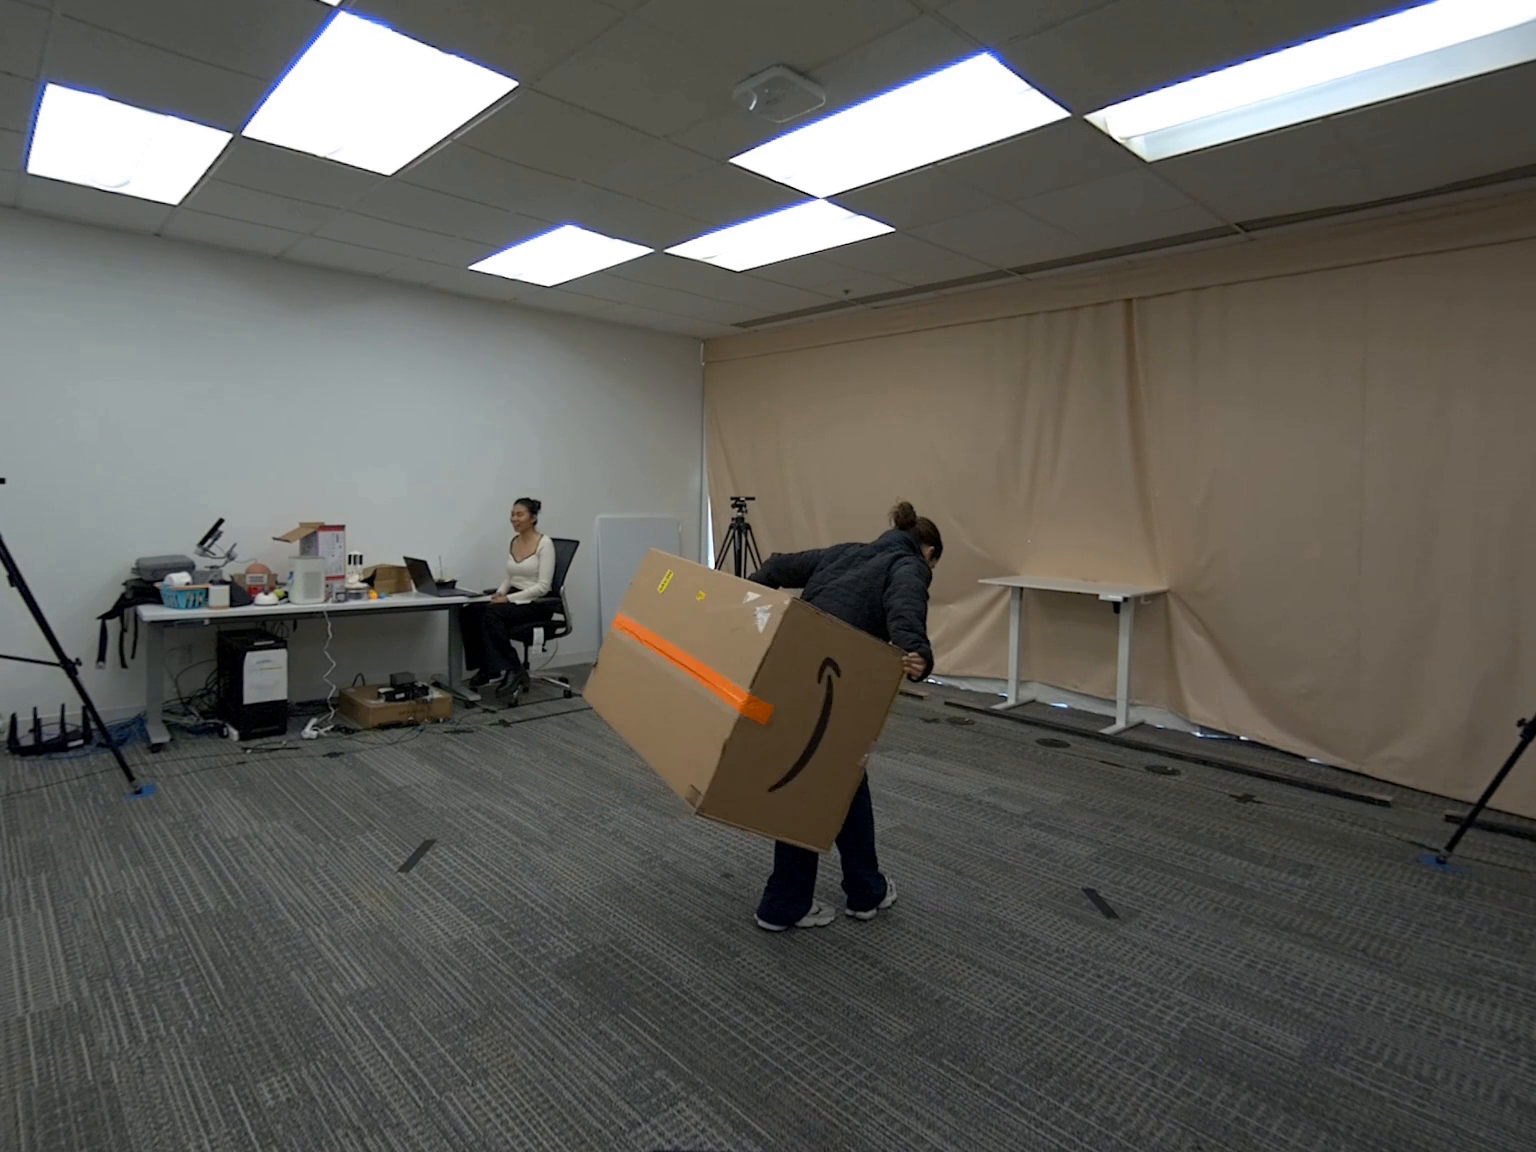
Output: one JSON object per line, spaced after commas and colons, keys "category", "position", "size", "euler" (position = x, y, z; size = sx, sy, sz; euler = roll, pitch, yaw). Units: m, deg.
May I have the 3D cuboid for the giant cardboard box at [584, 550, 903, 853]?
{"category": "giant cardboard box", "position": [-0.133, 0.316, 2.577], "size": [0.415, 0.578, 1.050], "euler": [27, -5, -29]}
